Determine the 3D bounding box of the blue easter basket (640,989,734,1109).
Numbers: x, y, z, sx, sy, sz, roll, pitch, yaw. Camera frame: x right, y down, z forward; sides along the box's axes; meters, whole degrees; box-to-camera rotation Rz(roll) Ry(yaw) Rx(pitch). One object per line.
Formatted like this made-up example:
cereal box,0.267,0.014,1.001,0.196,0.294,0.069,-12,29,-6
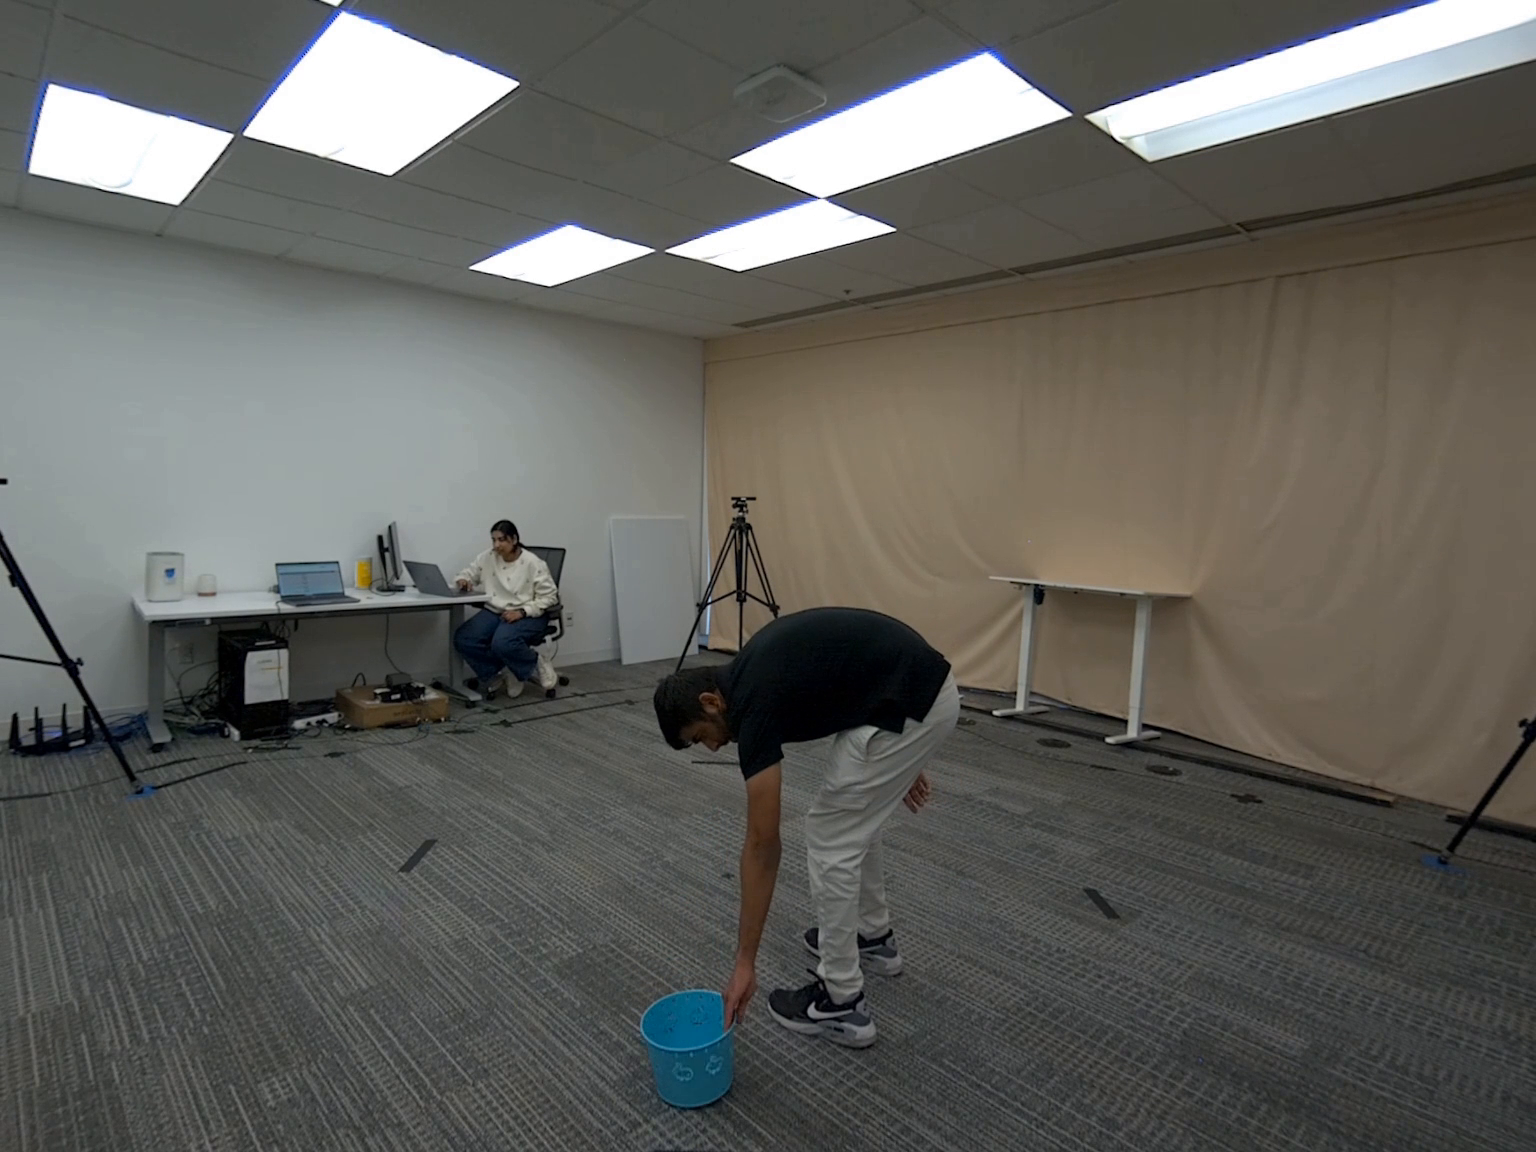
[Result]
blue easter basket,-0.184,1.127,1.995,0.243,0.155,0.244,-5,4,-1
